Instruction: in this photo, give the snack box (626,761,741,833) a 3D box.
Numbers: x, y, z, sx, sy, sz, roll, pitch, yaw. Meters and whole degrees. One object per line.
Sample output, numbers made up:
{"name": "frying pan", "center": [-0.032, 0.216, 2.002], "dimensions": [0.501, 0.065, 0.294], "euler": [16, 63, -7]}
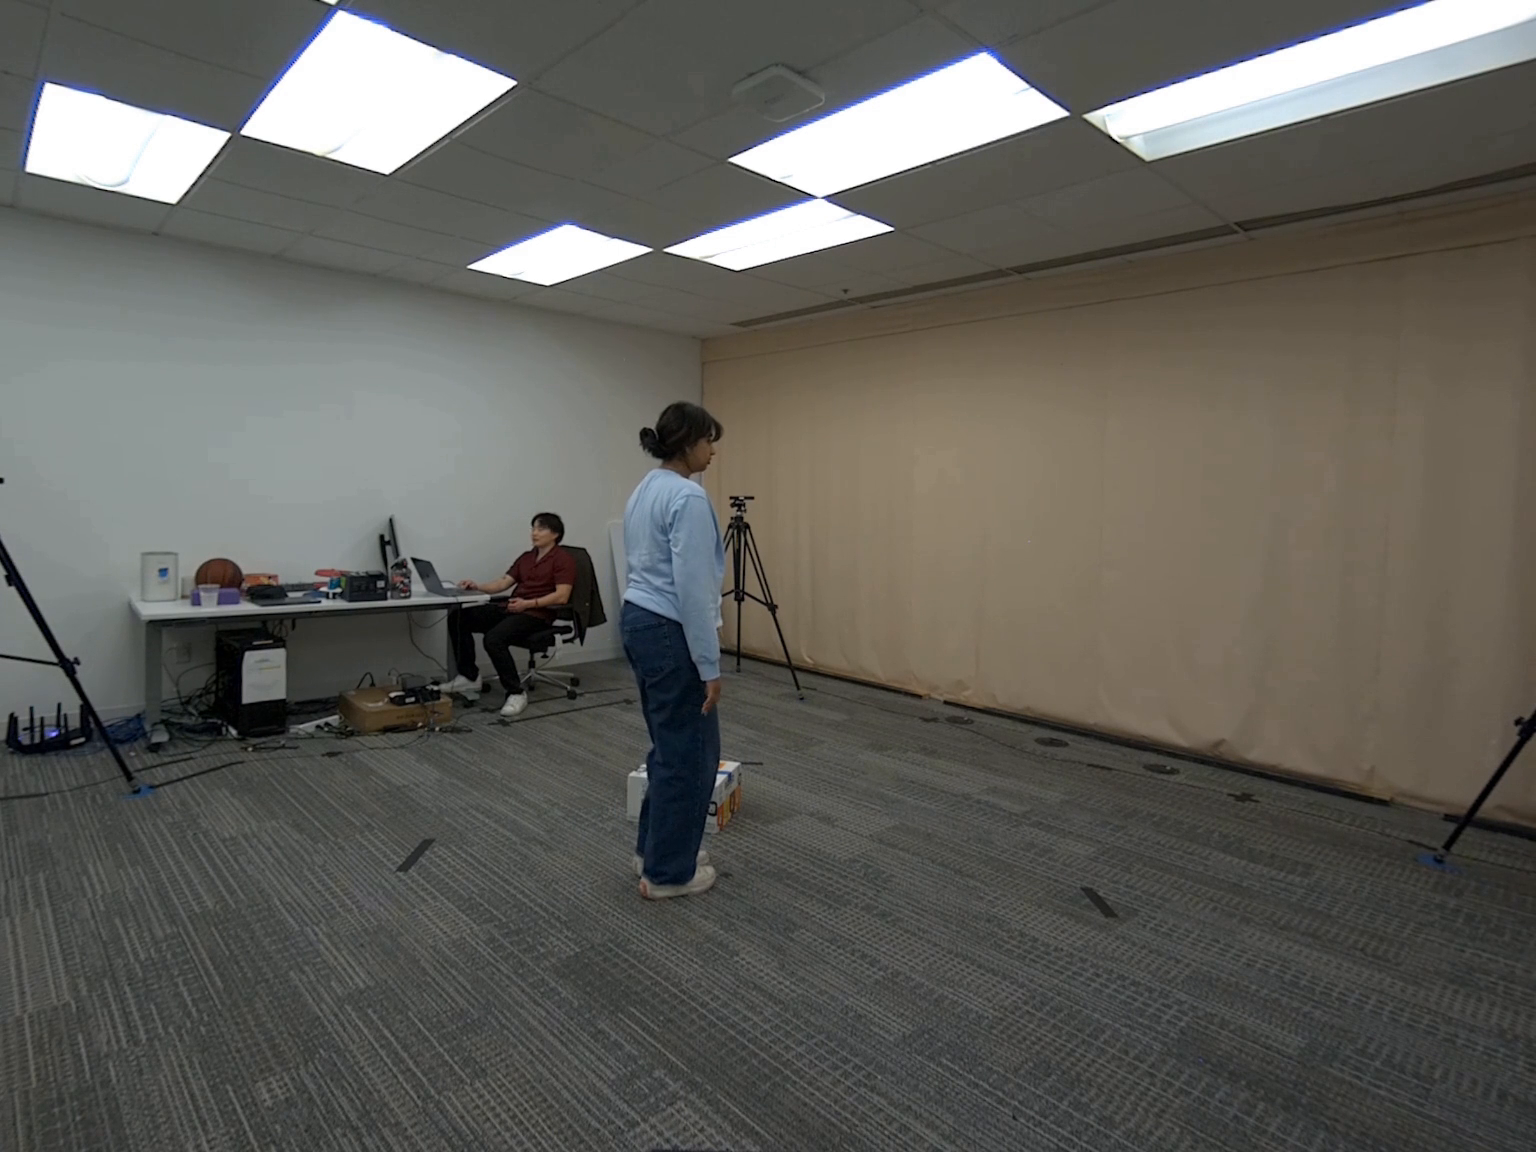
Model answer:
{"name": "snack box", "center": [-0.378, 0.951, 3.696], "dimensions": [0.410, 0.205, 0.337], "euler": [3, 4, 16]}
